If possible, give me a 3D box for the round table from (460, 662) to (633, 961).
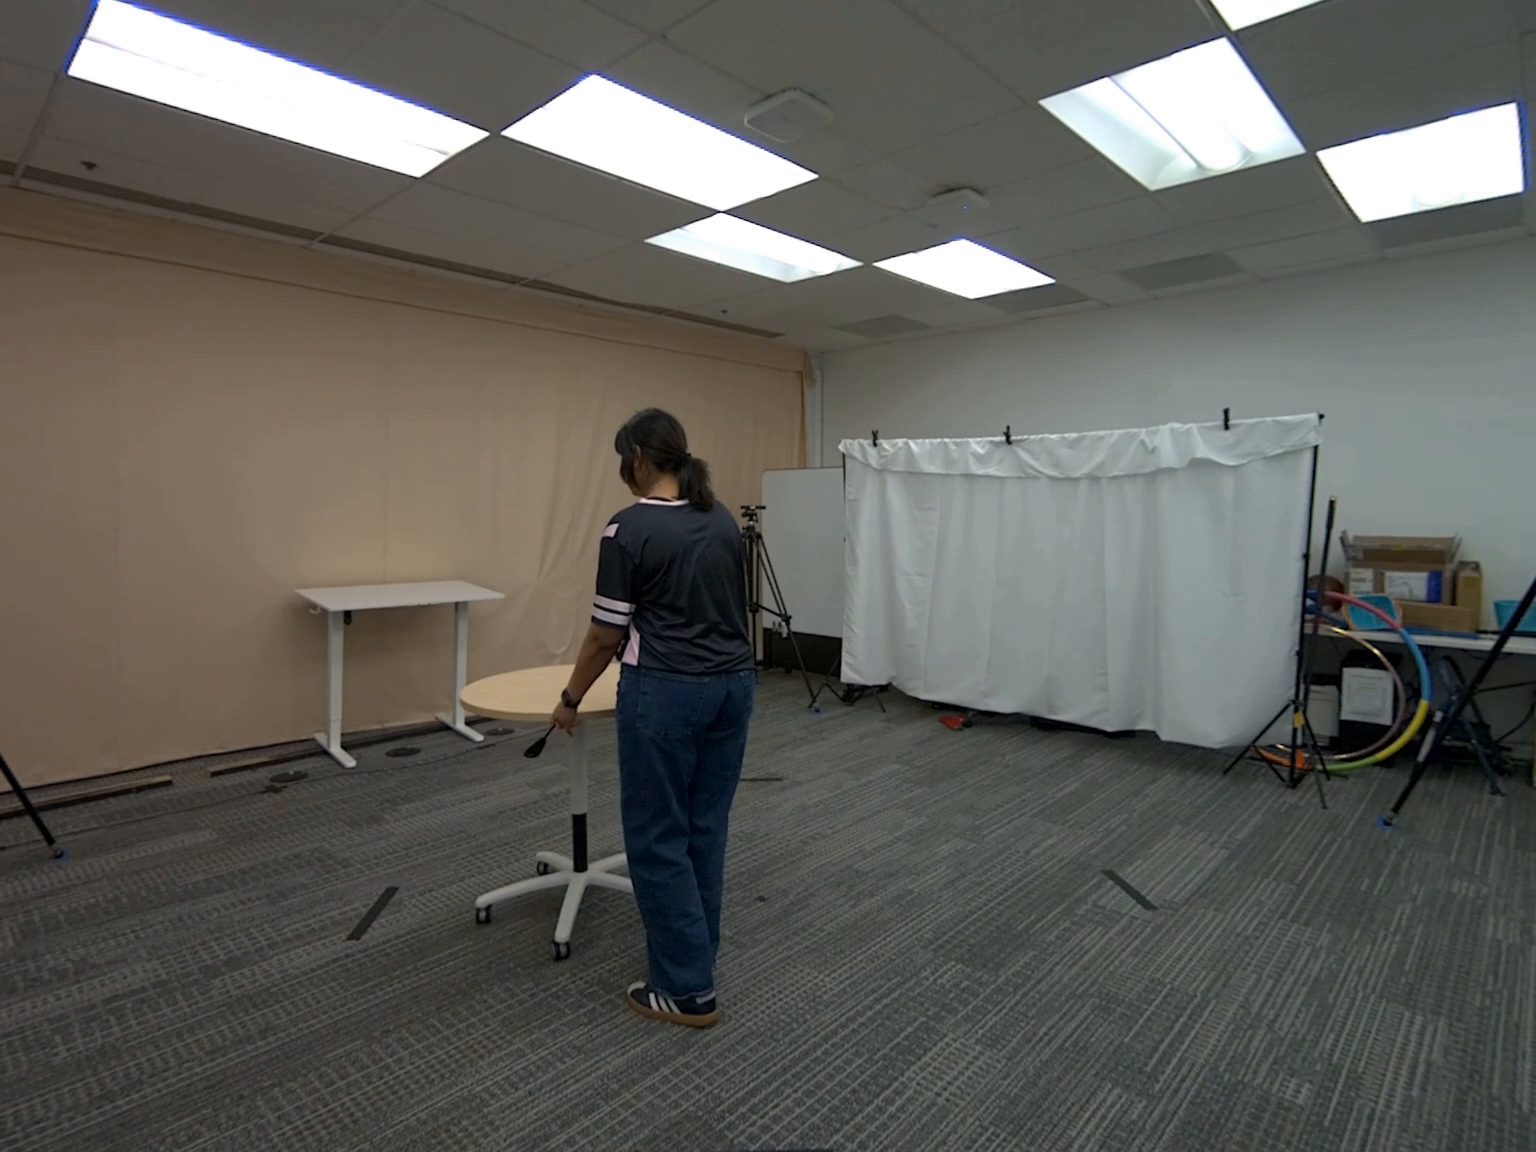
[{"bbox_3d":[-0.642,0.766,2.898,0.763,0.792,0.766,-1,4,-2],"label":"round table"}]
